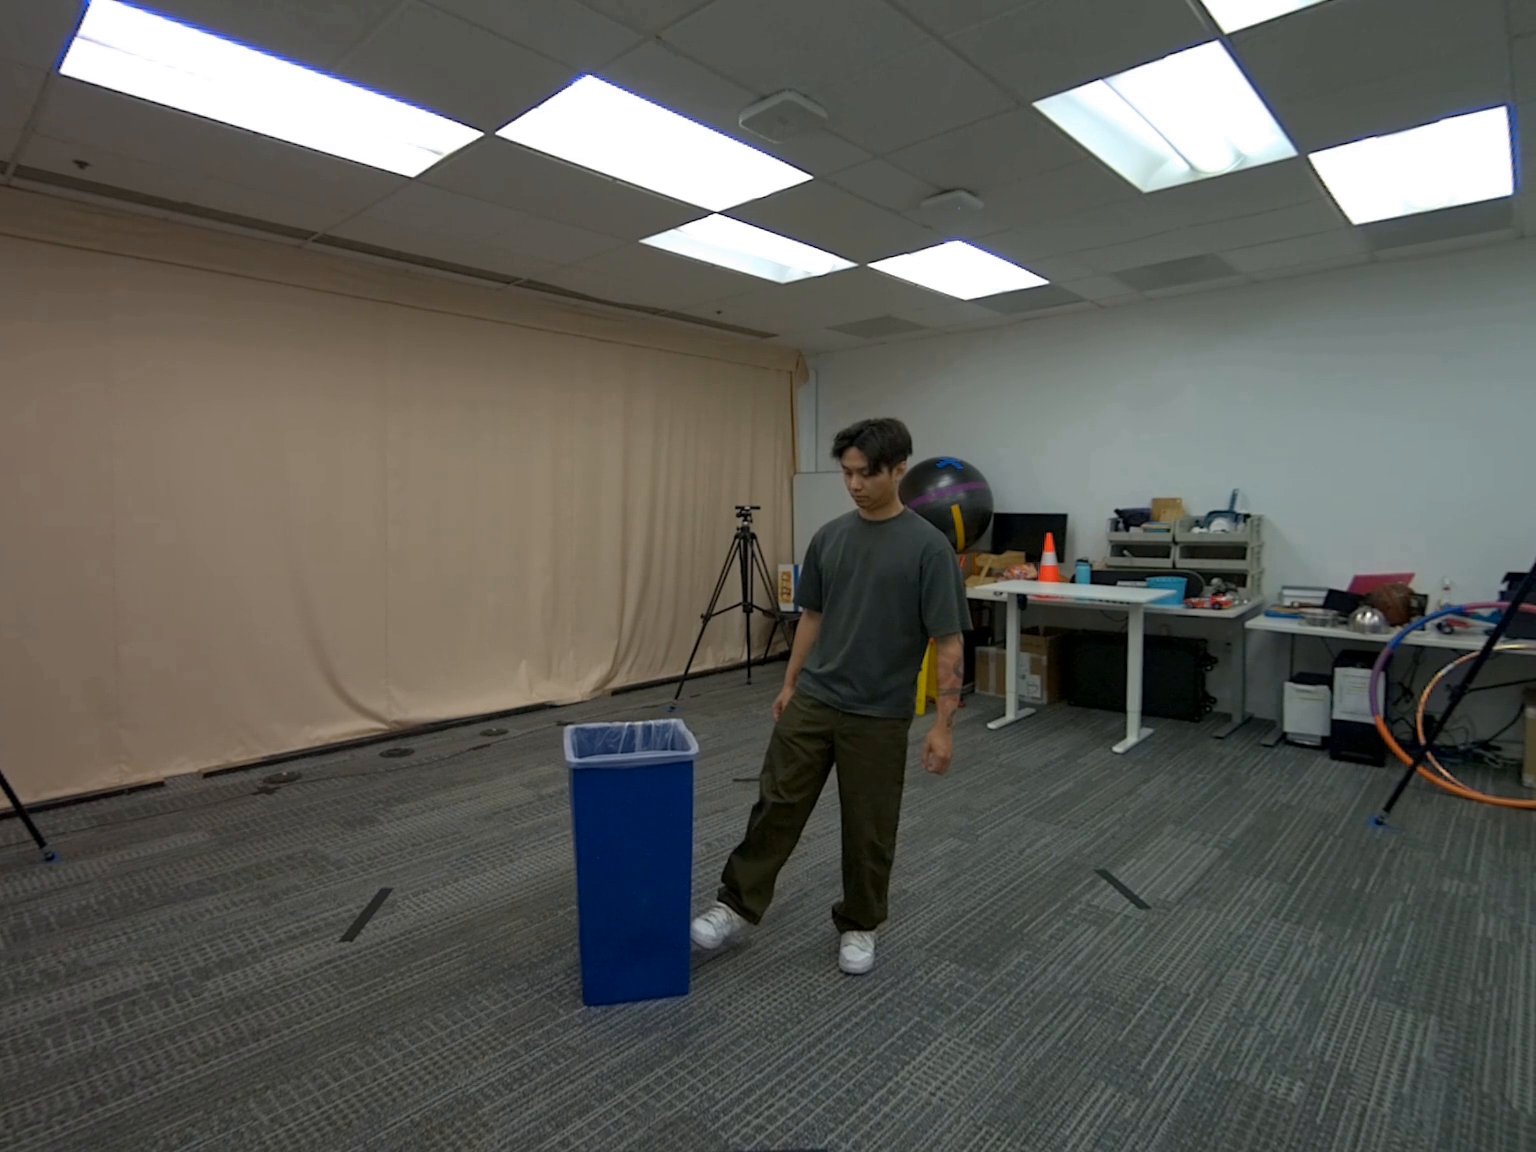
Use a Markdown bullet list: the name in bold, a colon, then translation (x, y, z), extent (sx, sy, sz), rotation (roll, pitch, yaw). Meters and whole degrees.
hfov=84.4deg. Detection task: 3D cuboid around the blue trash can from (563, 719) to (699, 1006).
- **blue trash can**: translation (-0.401, 0.833, 2.502), extent (0.369, 0.712, 0.384), rotation (-2, 4, -13)
